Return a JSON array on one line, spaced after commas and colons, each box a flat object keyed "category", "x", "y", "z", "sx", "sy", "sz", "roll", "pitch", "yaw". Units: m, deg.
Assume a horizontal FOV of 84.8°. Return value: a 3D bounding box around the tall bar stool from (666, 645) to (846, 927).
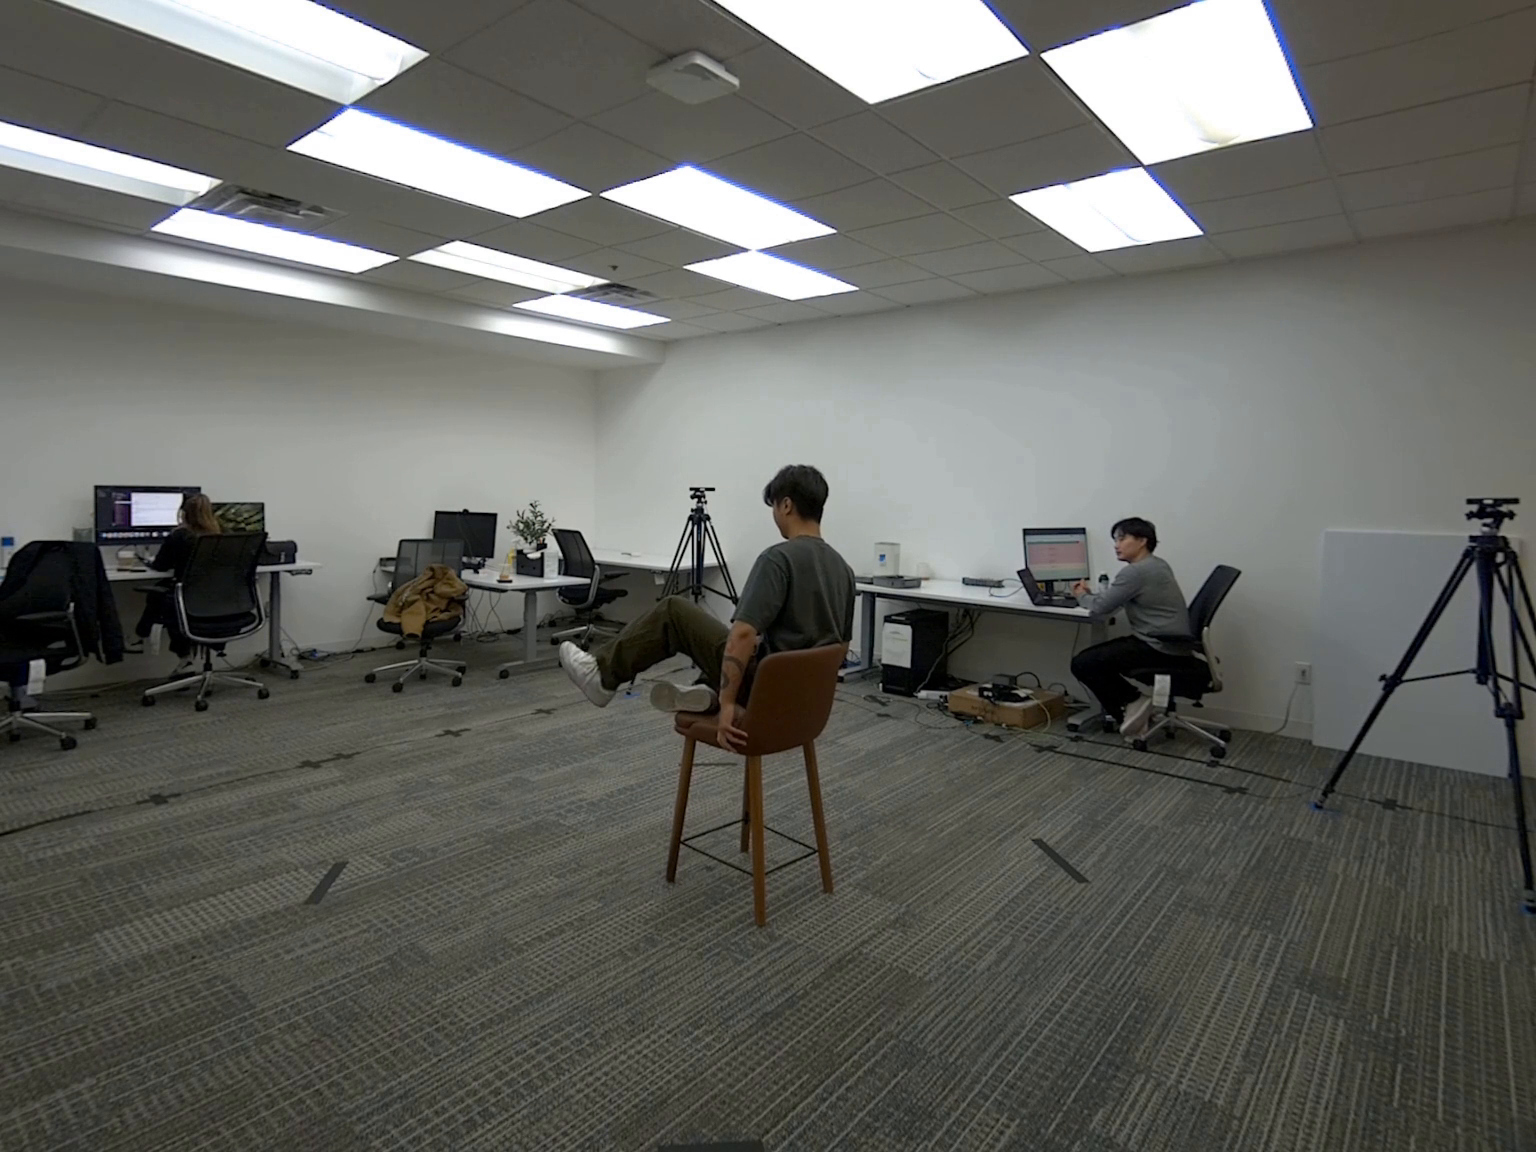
[{"category": "tall bar stool", "x": -0.056, "y": 0.648, "z": 2.957, "sx": 0.484, "sy": 0.886, "sz": 0.442, "roll": 7, "pitch": 6, "yaw": 44}]
